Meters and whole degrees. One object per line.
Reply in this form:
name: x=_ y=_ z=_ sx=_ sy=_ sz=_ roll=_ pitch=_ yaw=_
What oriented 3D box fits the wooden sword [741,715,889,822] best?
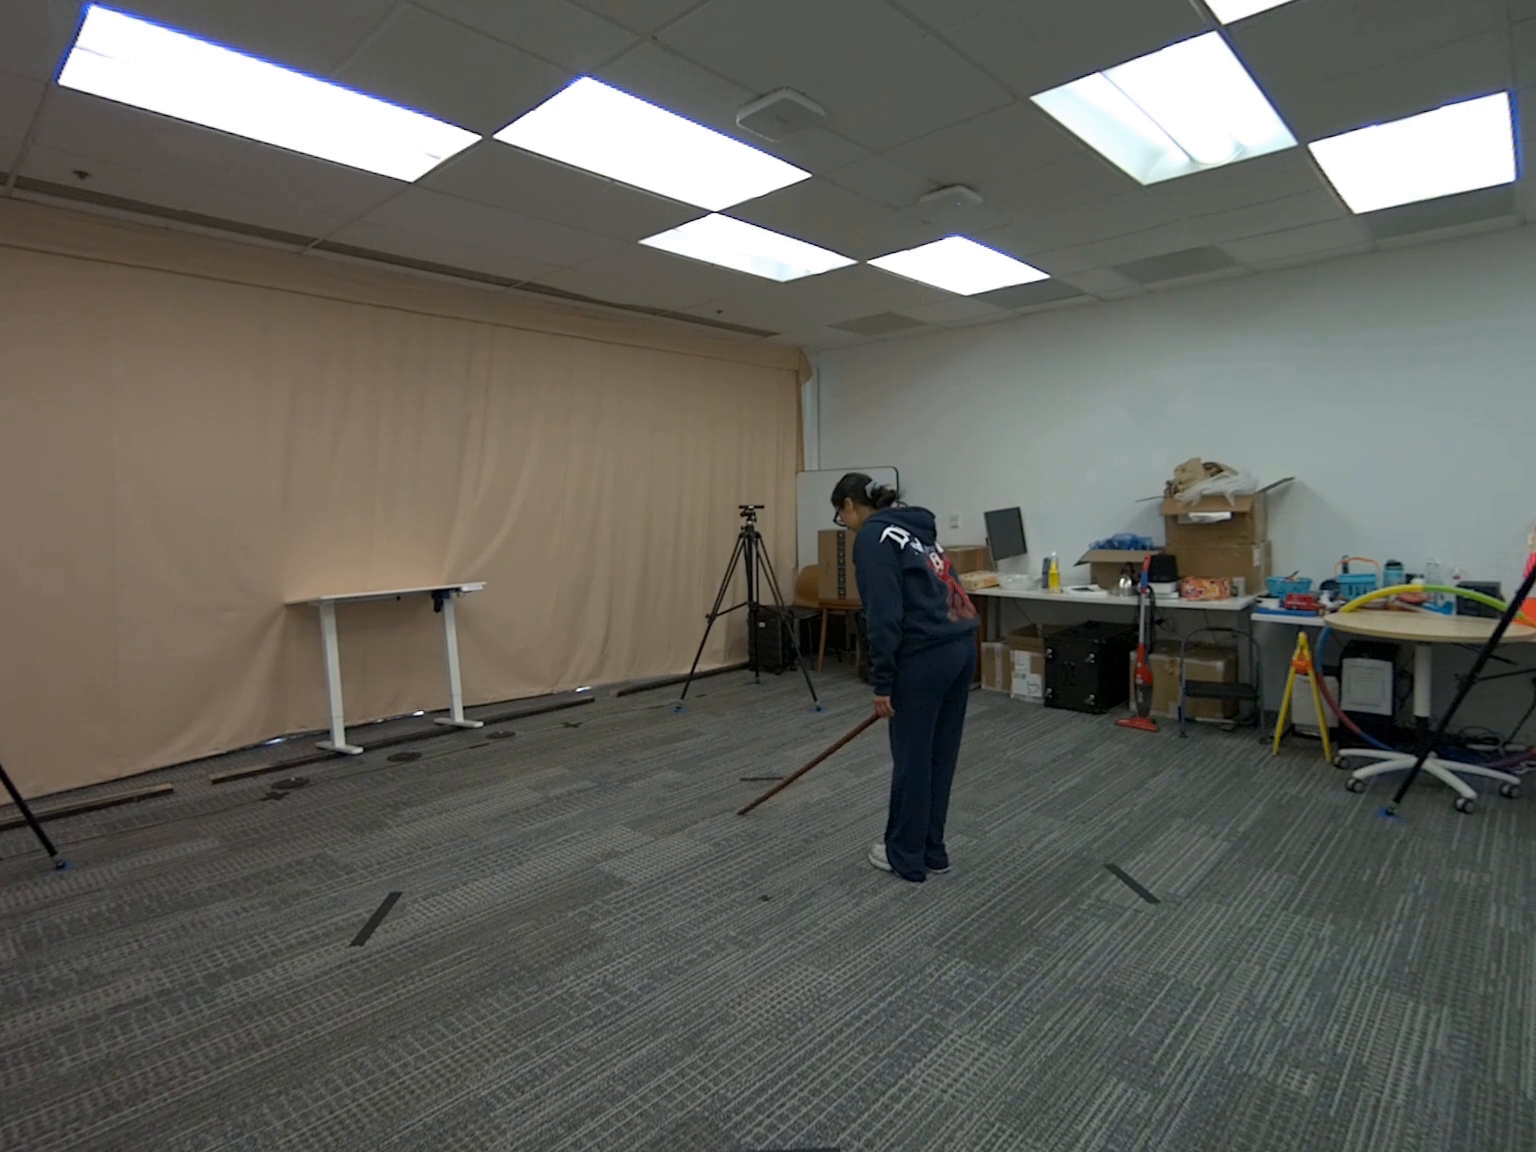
wooden sword: x=0.249 y=0.768 z=3.593 sx=0.023 sy=1.033 sz=0.052 roll=38 pitch=26 yaw=-24
